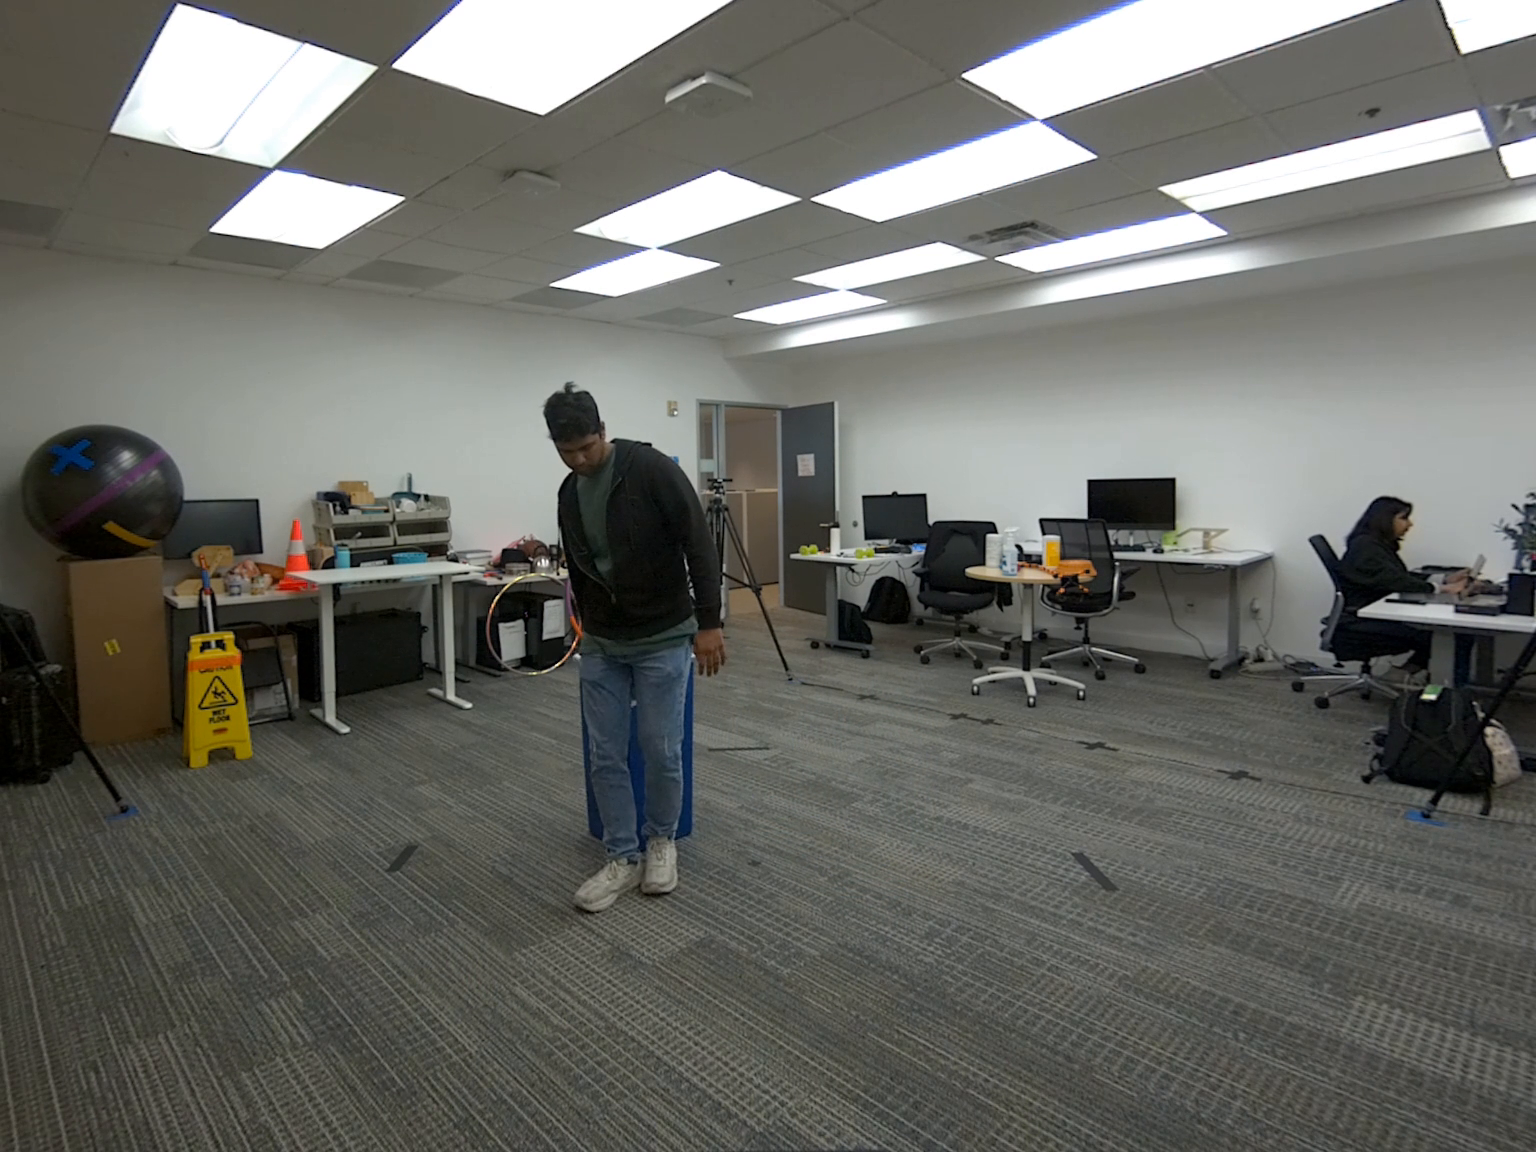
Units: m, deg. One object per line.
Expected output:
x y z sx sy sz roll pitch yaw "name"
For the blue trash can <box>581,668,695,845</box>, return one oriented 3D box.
-0.500 0.663 3.364 0.368 0.711 0.385 -4 5 -43 "blue trash can"
